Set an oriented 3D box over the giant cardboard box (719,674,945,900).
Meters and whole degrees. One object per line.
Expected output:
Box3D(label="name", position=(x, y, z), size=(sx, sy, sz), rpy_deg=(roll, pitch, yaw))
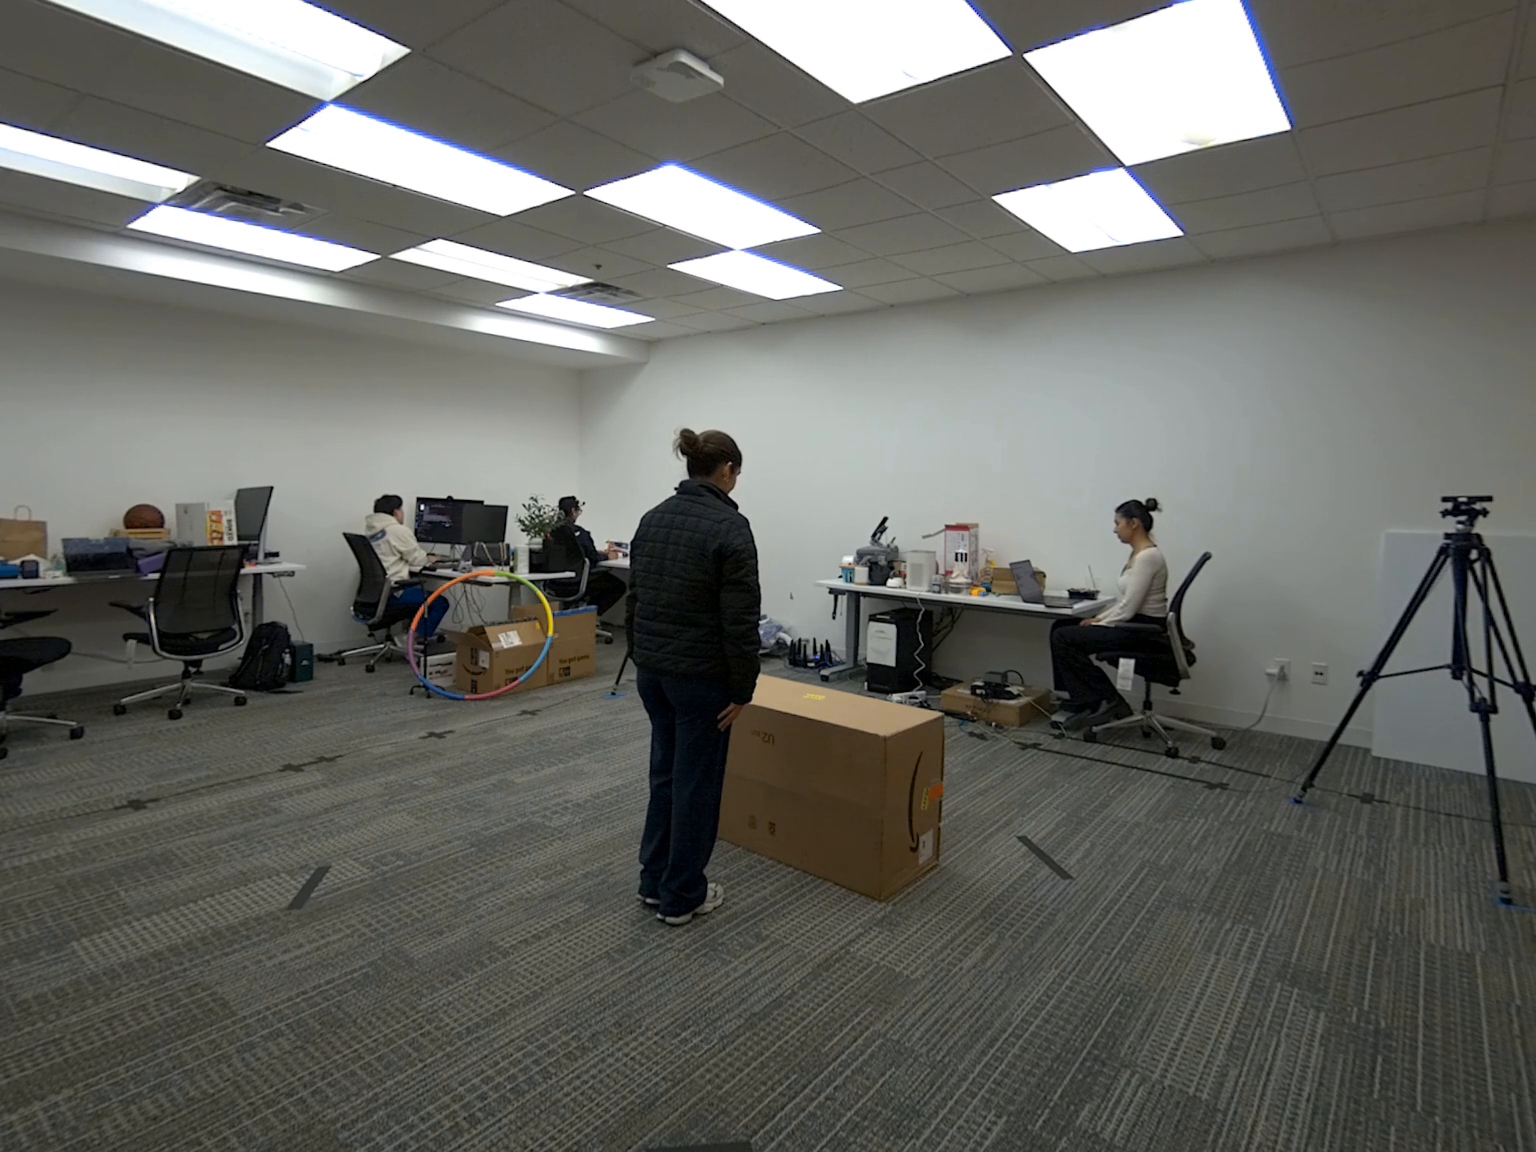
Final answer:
Box3D(label="giant cardboard box", position=(0.145, 0.763, 3.367), size=(1.062, 0.582, 0.433), rpy_deg=(6, 5, 40))
